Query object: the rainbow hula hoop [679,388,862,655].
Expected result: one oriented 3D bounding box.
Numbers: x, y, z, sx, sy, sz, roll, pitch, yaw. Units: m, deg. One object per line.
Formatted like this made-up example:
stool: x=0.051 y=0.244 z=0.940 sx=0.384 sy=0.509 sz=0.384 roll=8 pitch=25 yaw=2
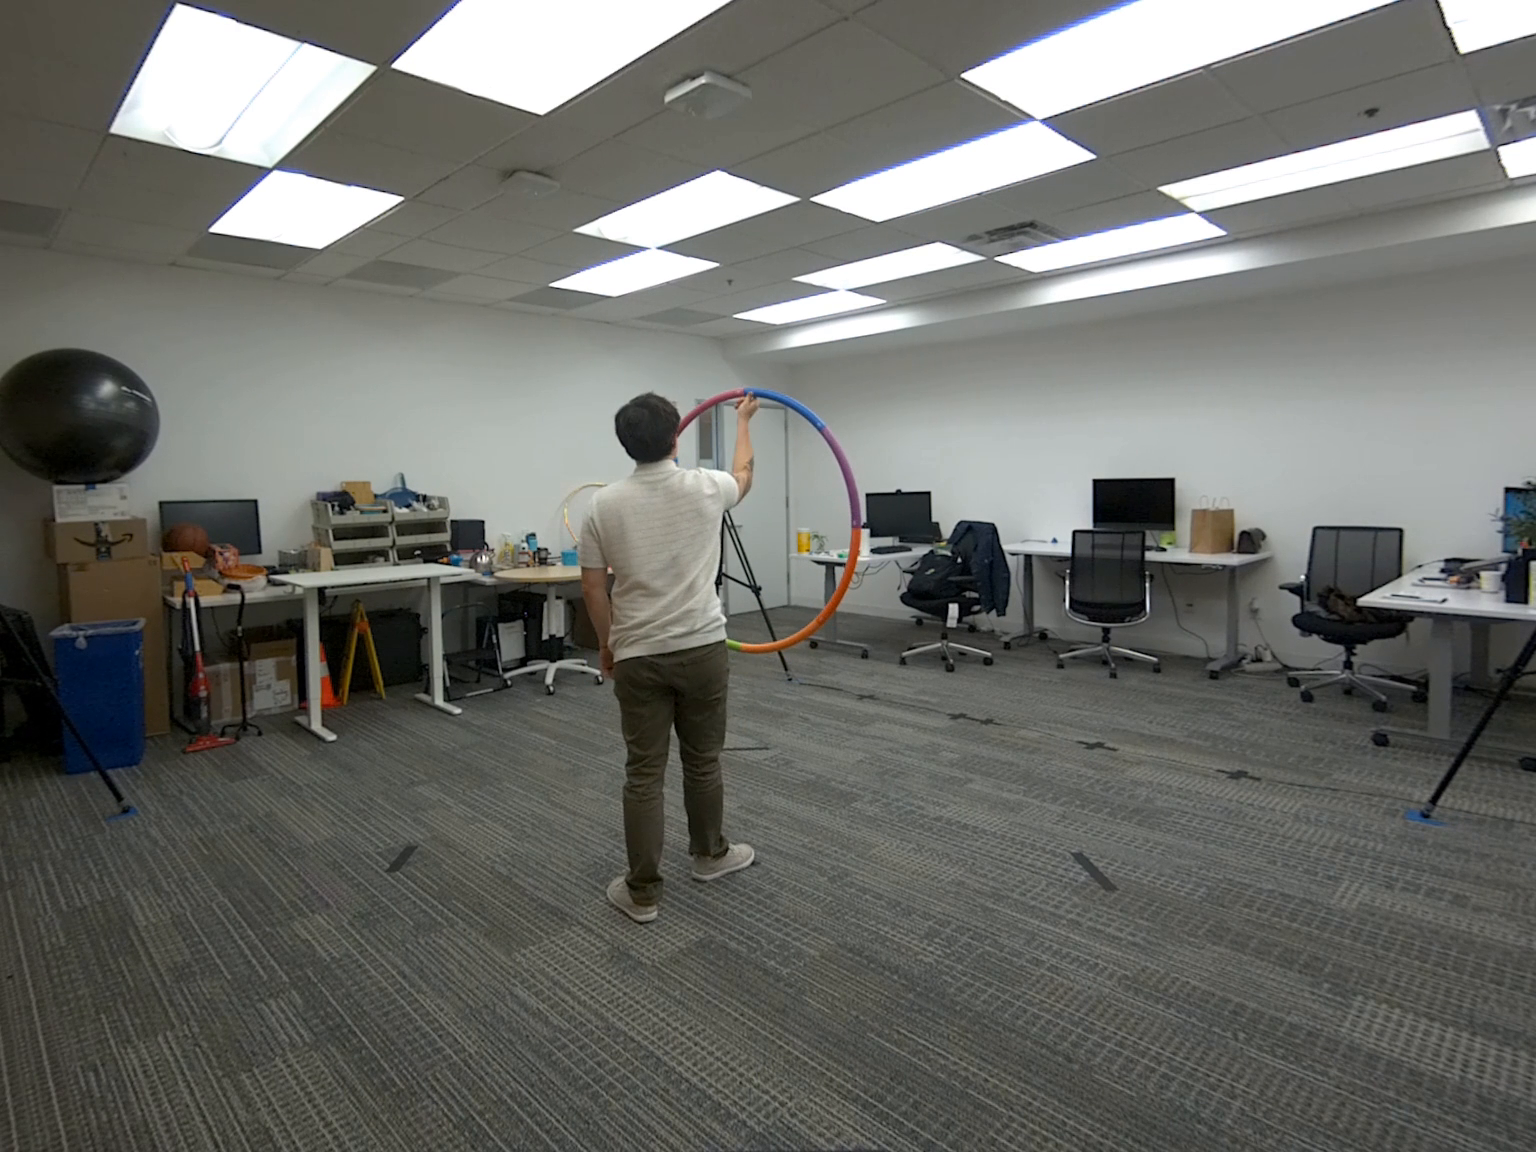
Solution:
rainbow hula hoop: x=-0.089 y=-0.207 z=3.207 sx=1.007 sy=0.975 sz=0.034 roll=3 pitch=4 yaw=36
